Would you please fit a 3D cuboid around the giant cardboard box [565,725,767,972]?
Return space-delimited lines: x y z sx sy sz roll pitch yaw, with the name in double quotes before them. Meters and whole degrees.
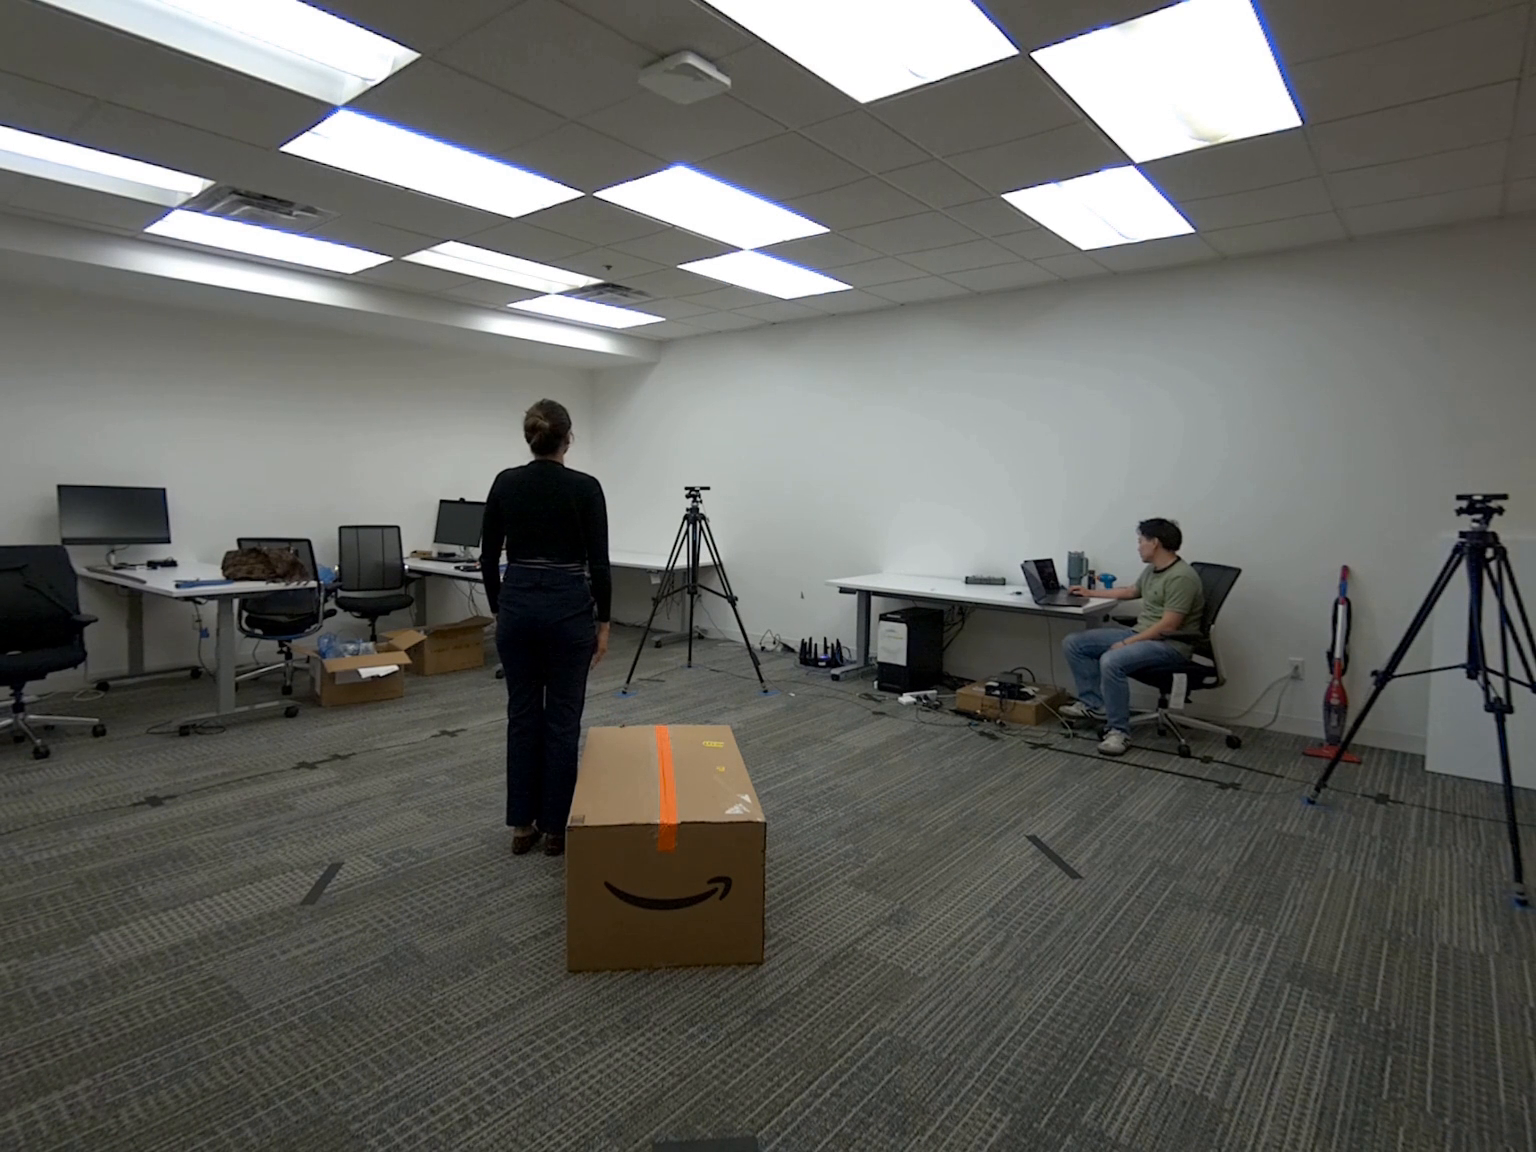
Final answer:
"giant cardboard box" -0.377 0.864 2.941 0.573 0.425 1.037 1 5 -8
